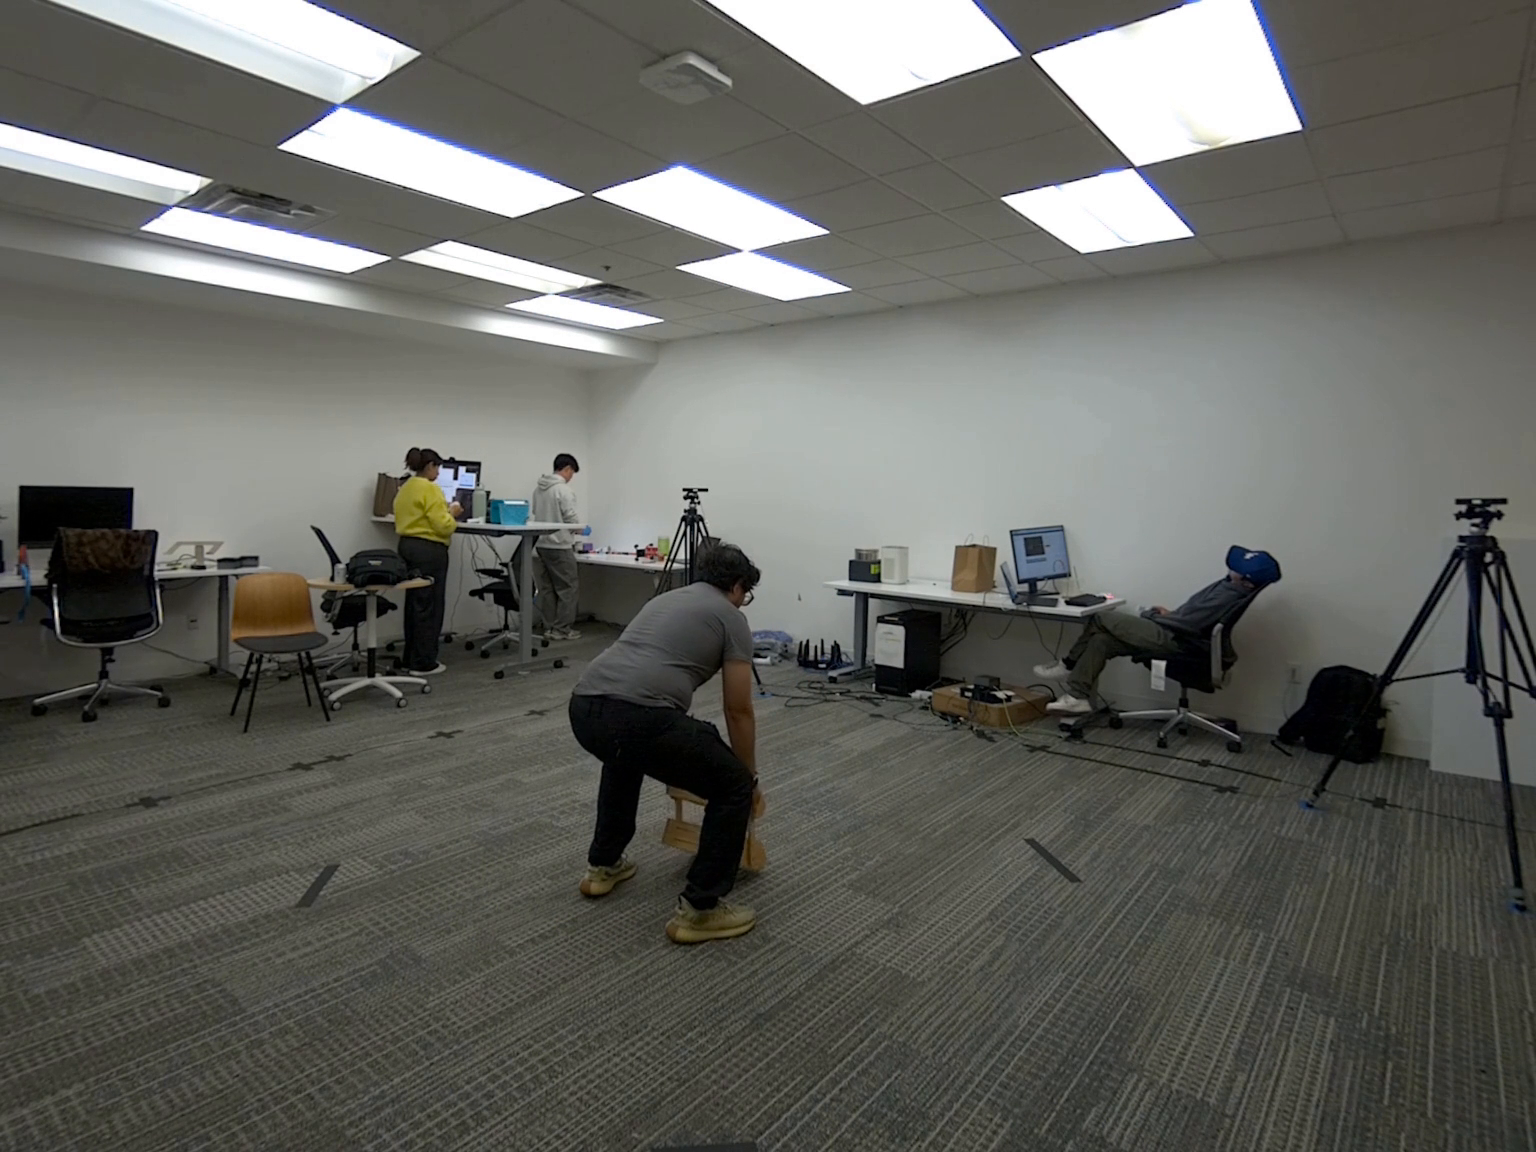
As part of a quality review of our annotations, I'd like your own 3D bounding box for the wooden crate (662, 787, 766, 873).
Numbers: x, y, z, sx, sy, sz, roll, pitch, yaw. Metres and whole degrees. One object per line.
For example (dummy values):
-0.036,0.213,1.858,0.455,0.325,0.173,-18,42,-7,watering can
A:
-0.193,0.884,3.098,0.334,0.276,0.290,3,-20,31,wooden crate
